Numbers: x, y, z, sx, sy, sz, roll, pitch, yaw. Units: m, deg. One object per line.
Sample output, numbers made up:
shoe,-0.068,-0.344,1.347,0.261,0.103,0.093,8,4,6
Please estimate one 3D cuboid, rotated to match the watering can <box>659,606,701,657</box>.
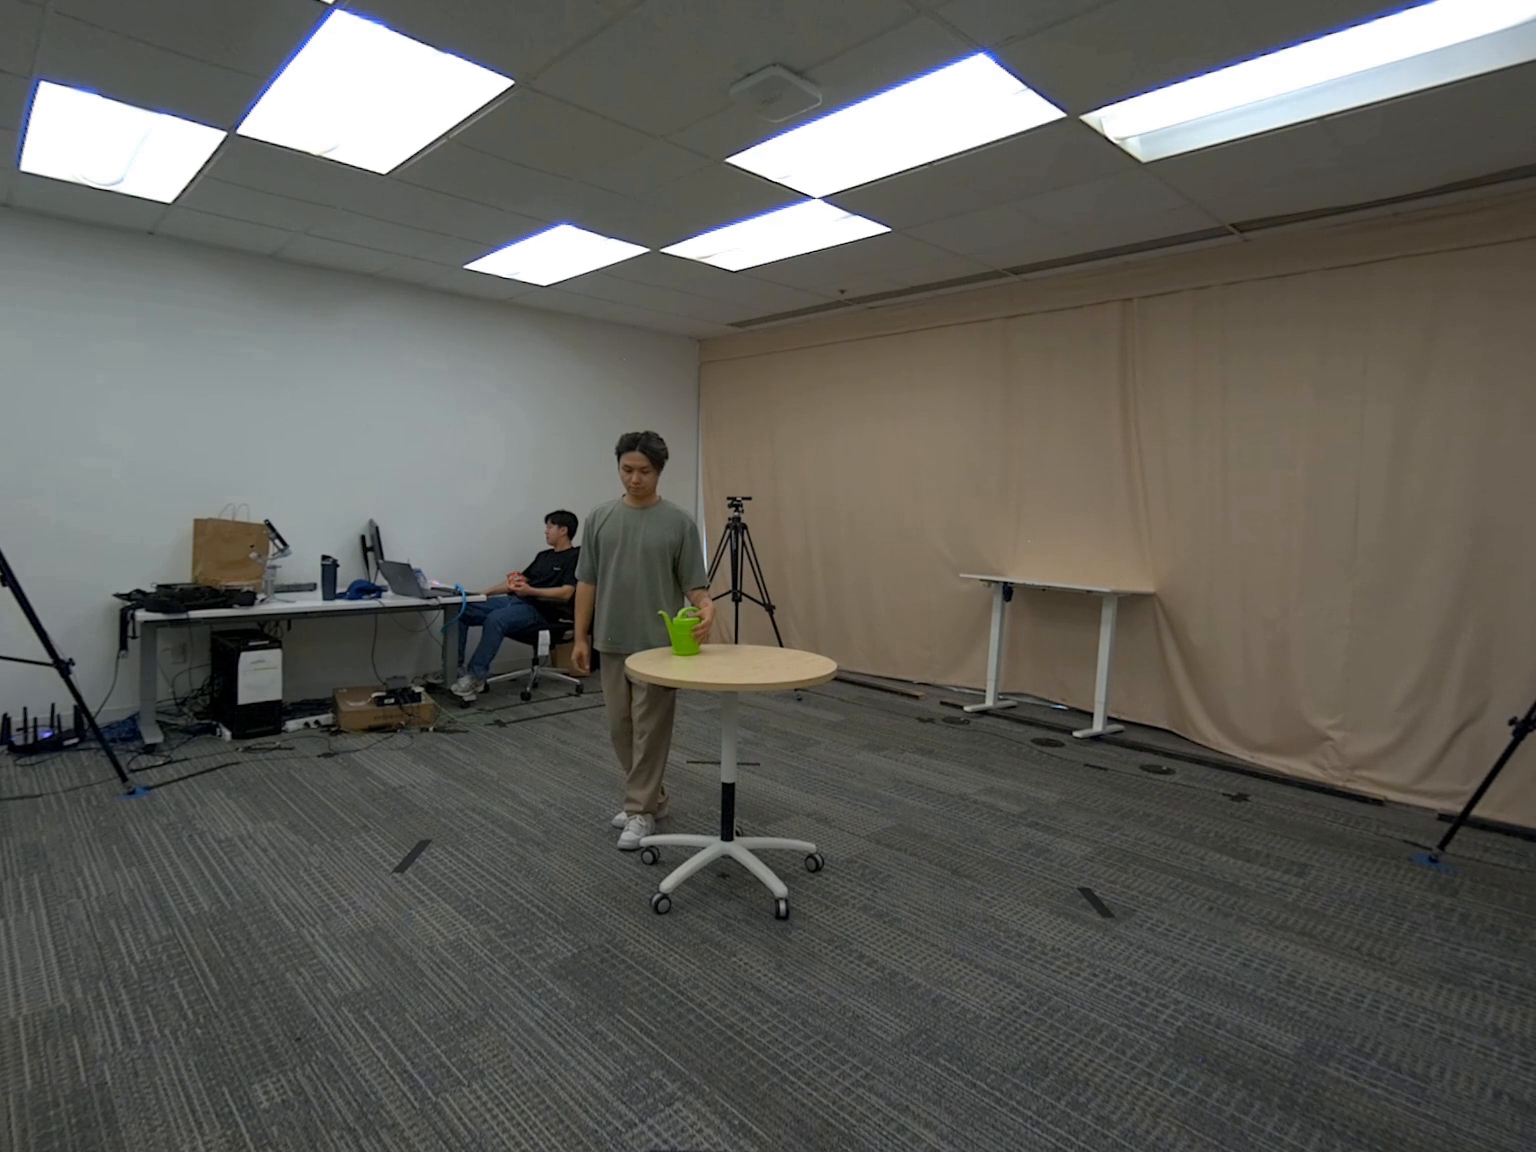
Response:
watering can,-0.348,0.217,3.180,0.100,0.176,0.272,4,6,44
